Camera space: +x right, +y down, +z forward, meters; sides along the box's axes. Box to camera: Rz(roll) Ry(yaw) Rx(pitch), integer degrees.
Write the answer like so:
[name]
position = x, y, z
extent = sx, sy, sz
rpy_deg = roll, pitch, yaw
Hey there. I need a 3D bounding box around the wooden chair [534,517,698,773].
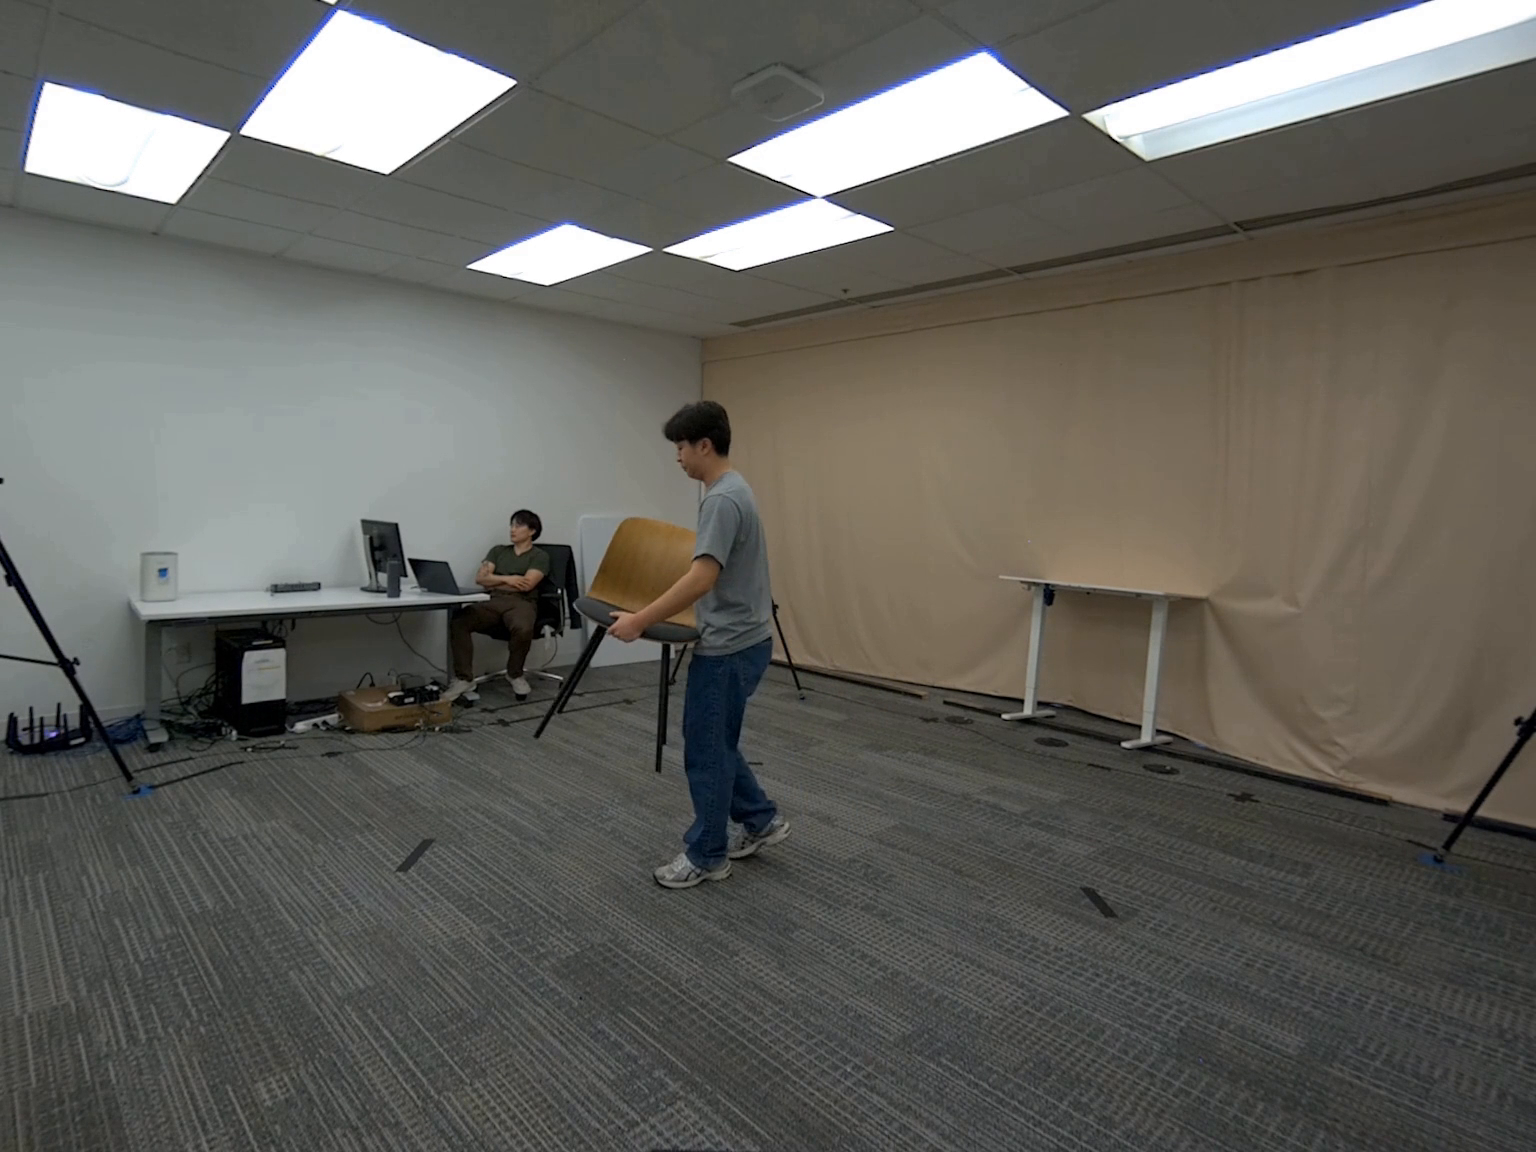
[wooden chair]
position = -0.482, 0.210, 3.102
extent = 0.476, 0.879, 0.524
rpy_deg = 16, -5, -5
